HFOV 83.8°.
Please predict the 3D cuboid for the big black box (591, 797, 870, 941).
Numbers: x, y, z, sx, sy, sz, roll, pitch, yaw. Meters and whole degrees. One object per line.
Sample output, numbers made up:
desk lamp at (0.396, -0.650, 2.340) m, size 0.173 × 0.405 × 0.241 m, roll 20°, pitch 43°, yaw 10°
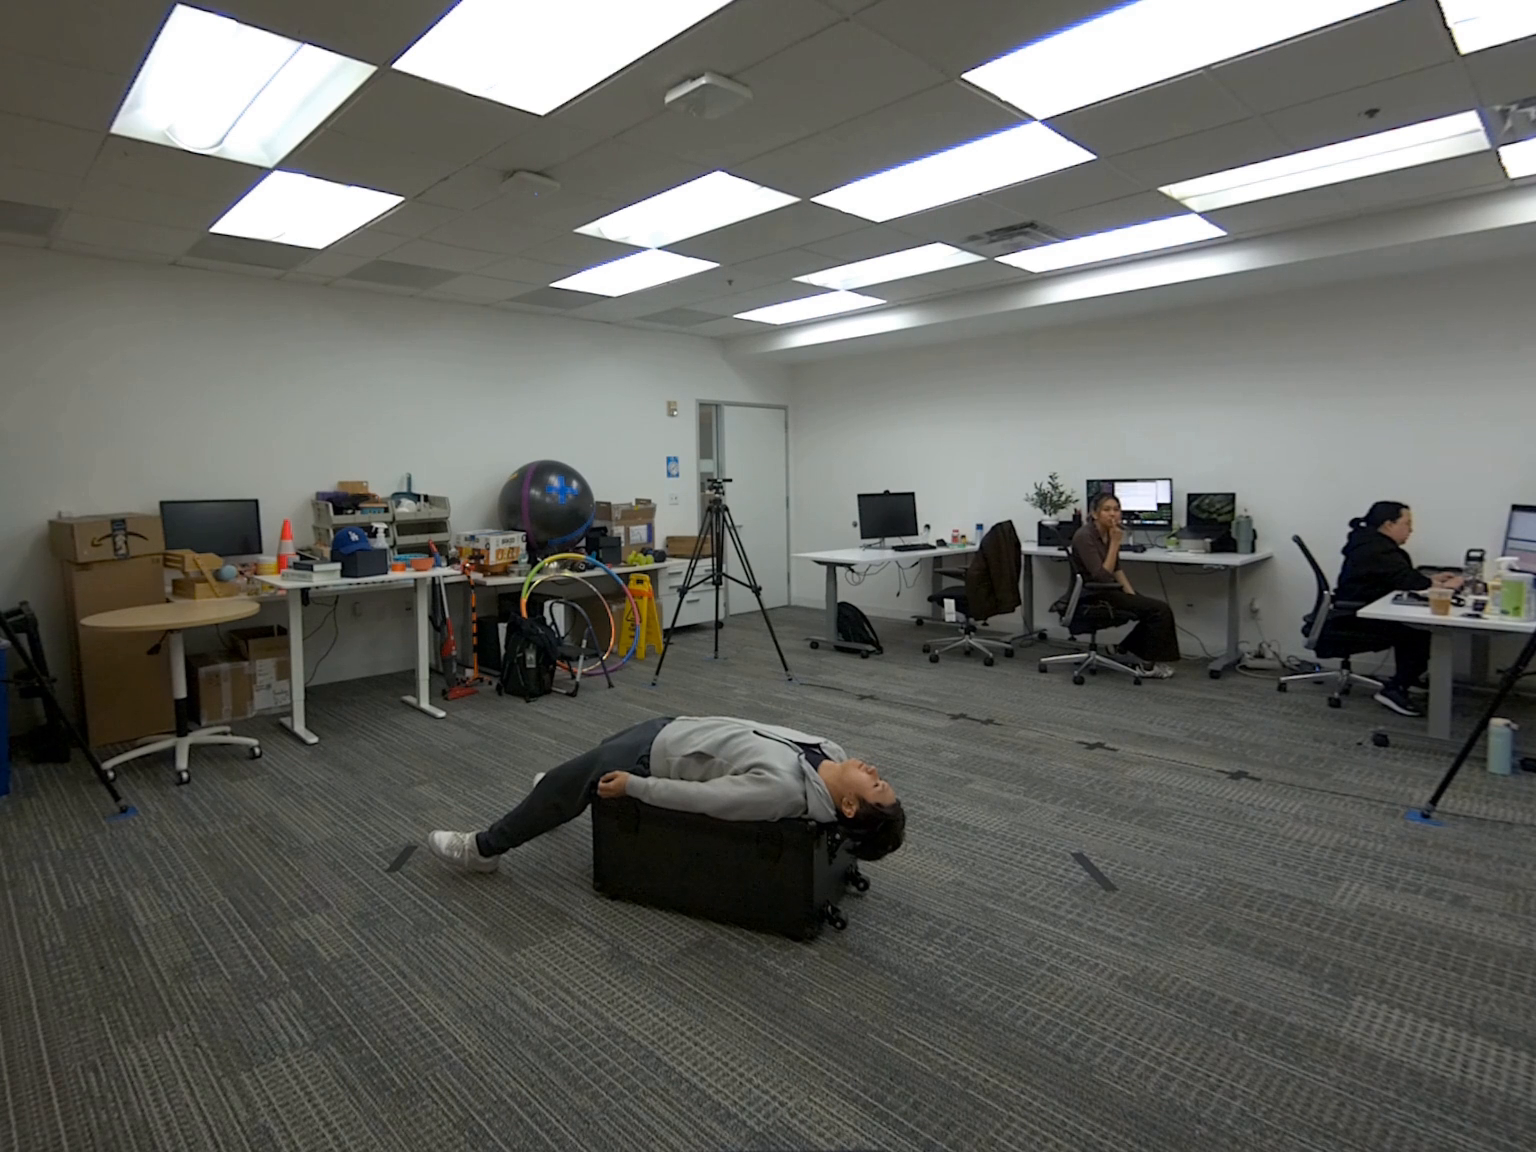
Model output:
big black box at (-0.164, 0.883, 2.934) m, size 0.881 × 0.394 × 0.512 m, roll 3°, pitch 6°, yaw 24°
